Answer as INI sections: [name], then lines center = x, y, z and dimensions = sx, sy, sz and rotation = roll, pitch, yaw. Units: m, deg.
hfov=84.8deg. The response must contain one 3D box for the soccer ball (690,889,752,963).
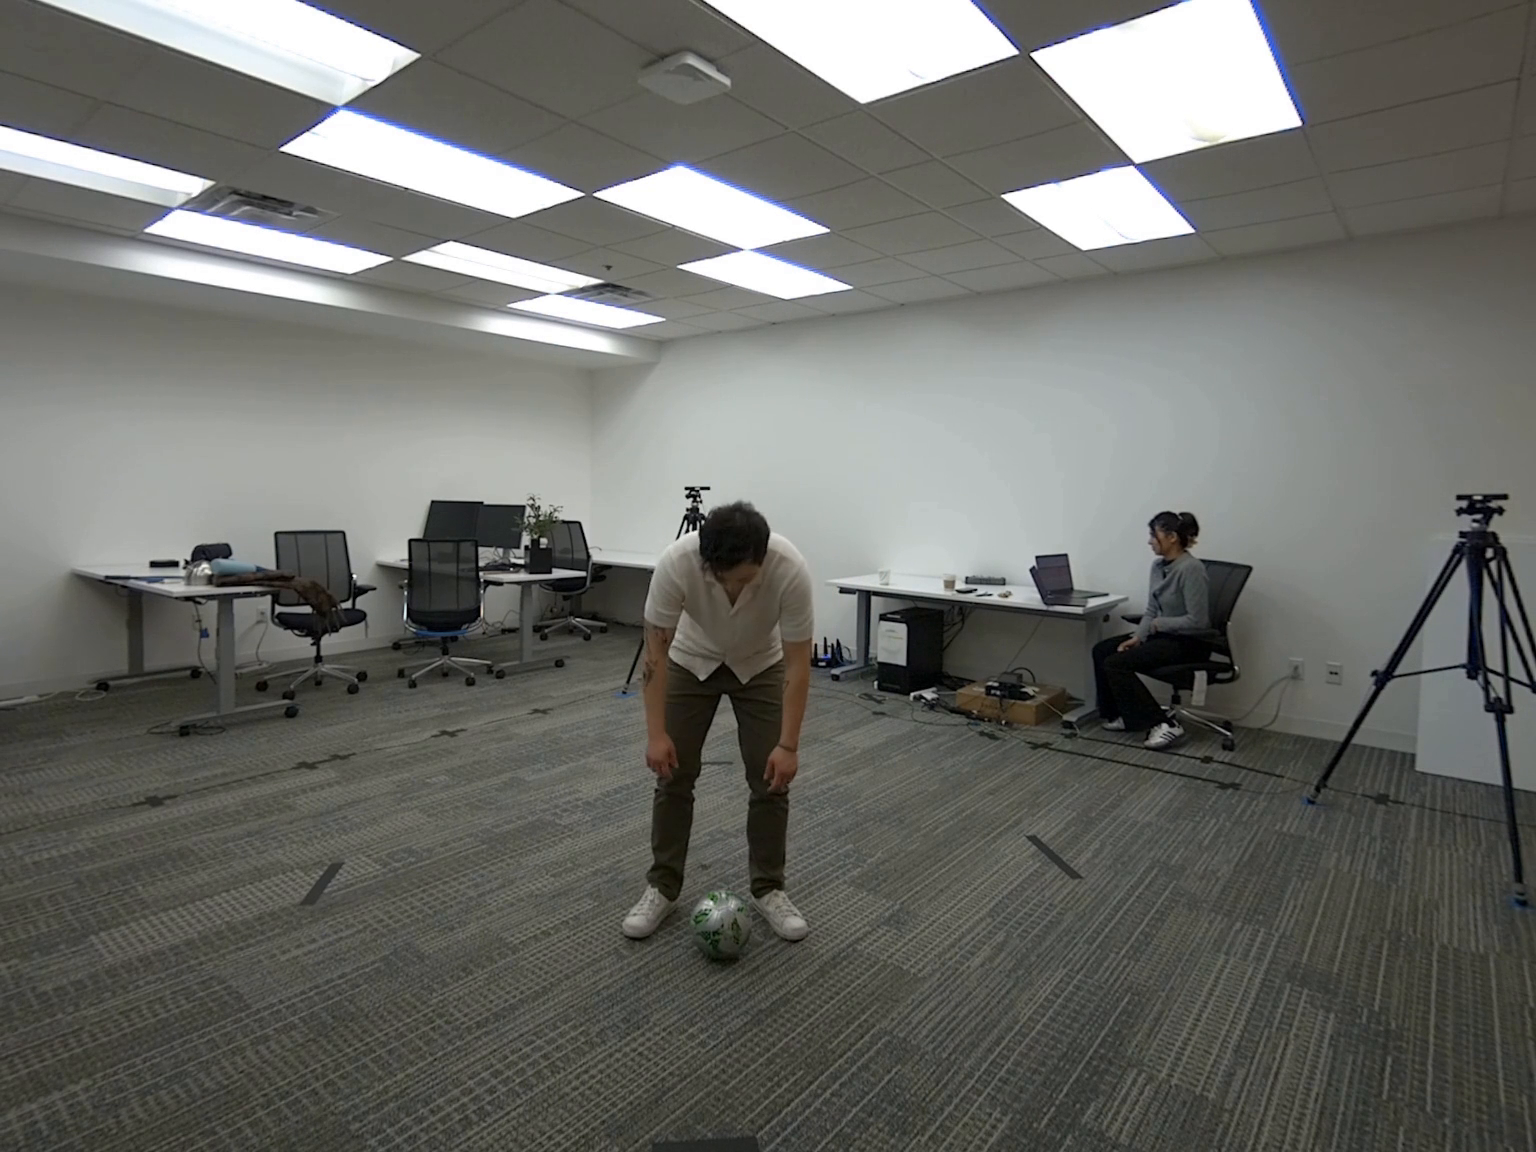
[soccer ball]
center = -0.145, 1.034, 2.524
dimensions = 0.187, 0.187, 0.188
rotation = 1, 4, -2
